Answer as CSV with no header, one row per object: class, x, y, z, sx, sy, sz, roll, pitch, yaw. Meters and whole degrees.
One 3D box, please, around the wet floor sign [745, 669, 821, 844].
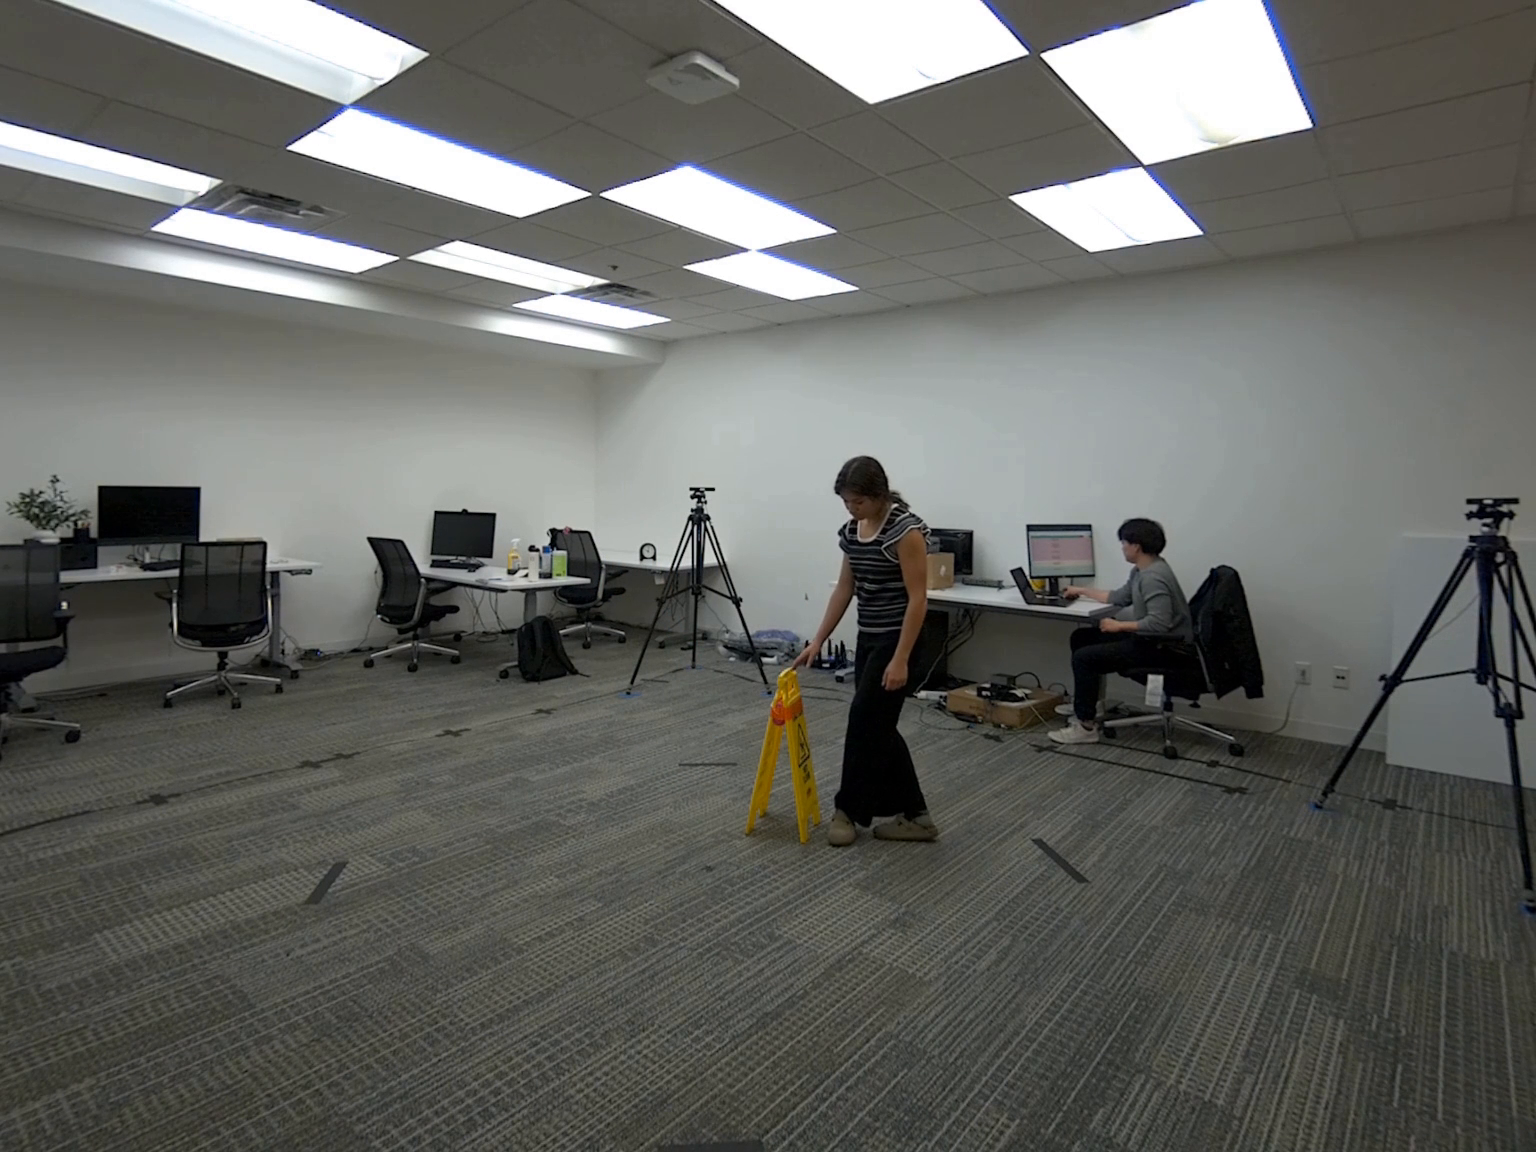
wet floor sign,0.070,0.712,3.503,0.295,0.643,0.278,3,5,17
